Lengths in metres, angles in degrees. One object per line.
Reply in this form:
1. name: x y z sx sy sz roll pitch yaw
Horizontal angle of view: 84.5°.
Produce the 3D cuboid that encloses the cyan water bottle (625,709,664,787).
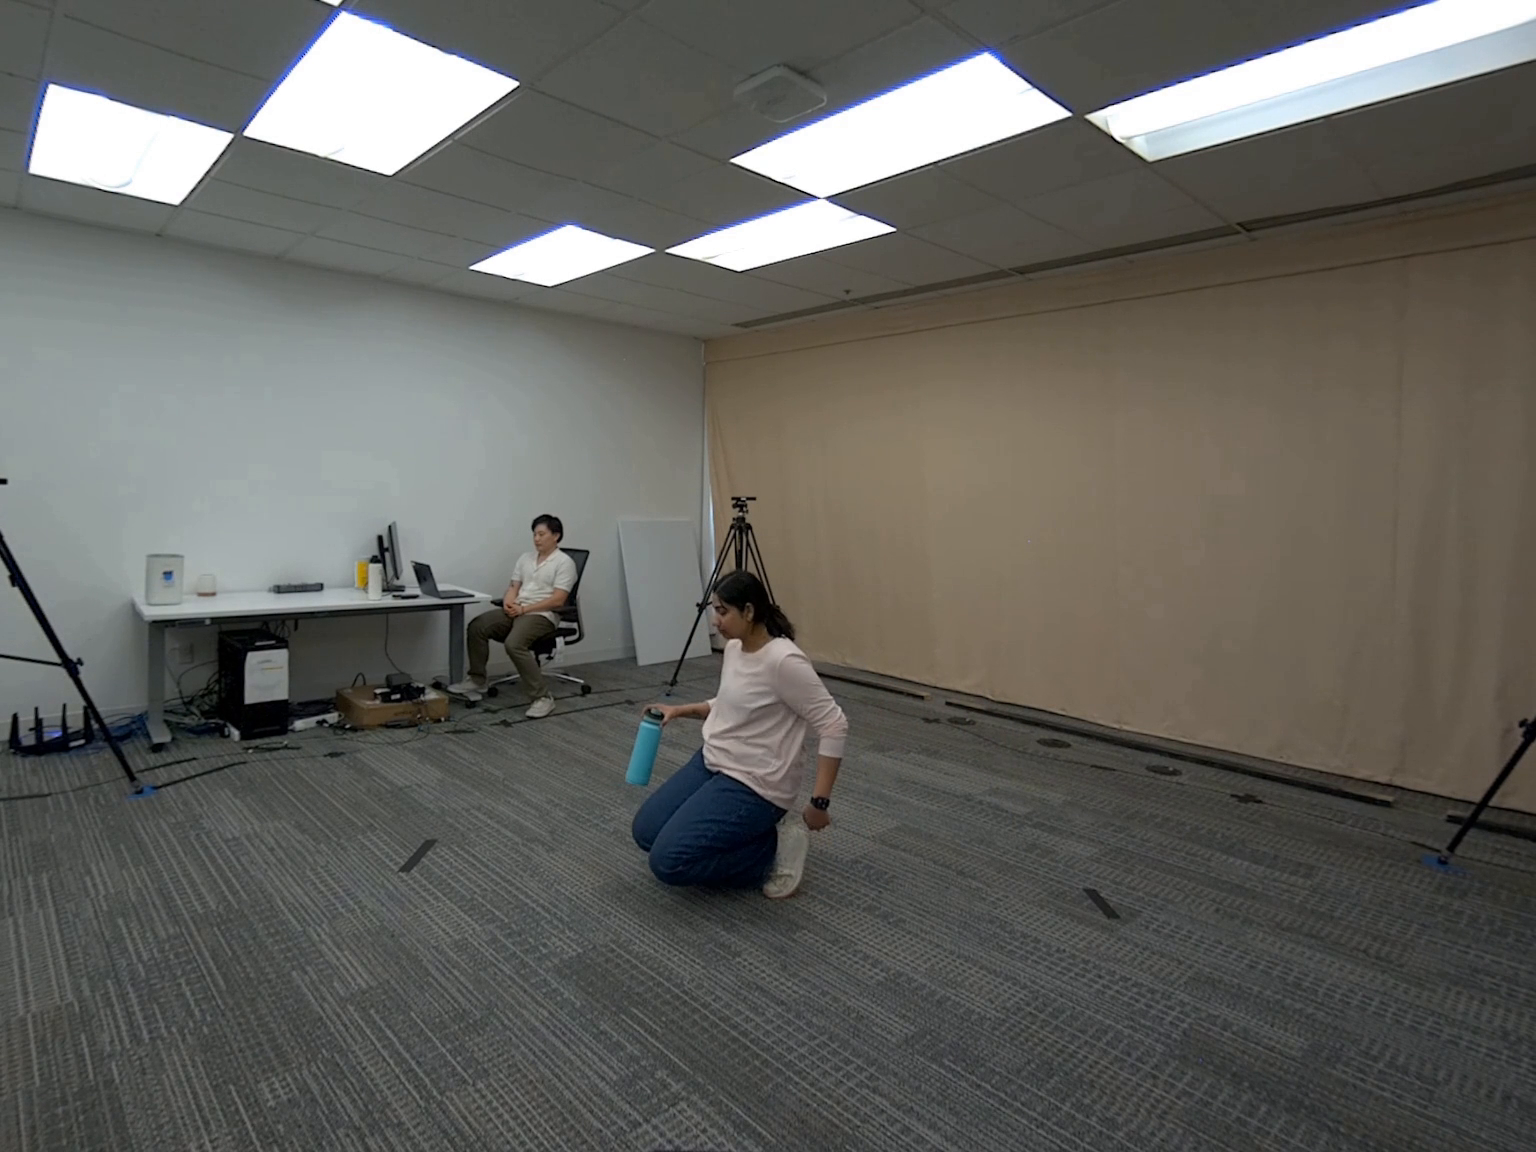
1. cyan water bottle: -0.470 0.639 3.159 0.092 0.284 0.092 14 -5 0
